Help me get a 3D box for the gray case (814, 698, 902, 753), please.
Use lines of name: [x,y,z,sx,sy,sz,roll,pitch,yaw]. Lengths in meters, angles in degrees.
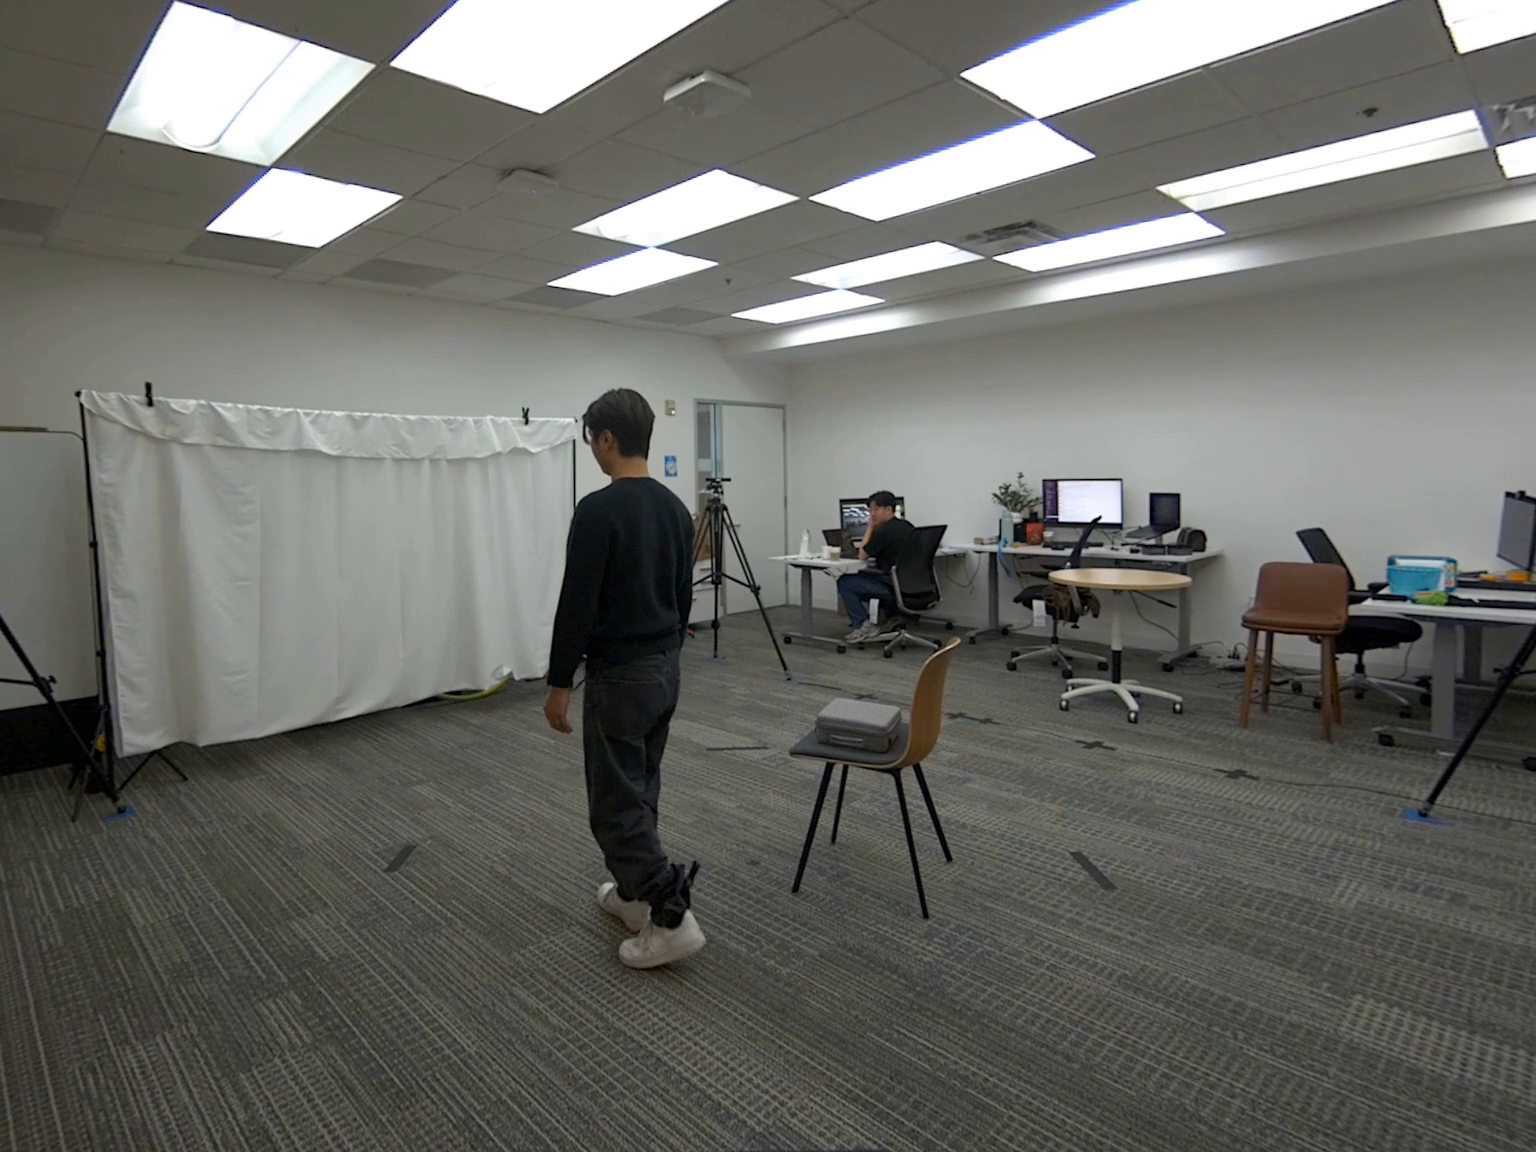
gray case: [0.312,0.515,2.983,0.263,0.103,0.256,6,10,22]
